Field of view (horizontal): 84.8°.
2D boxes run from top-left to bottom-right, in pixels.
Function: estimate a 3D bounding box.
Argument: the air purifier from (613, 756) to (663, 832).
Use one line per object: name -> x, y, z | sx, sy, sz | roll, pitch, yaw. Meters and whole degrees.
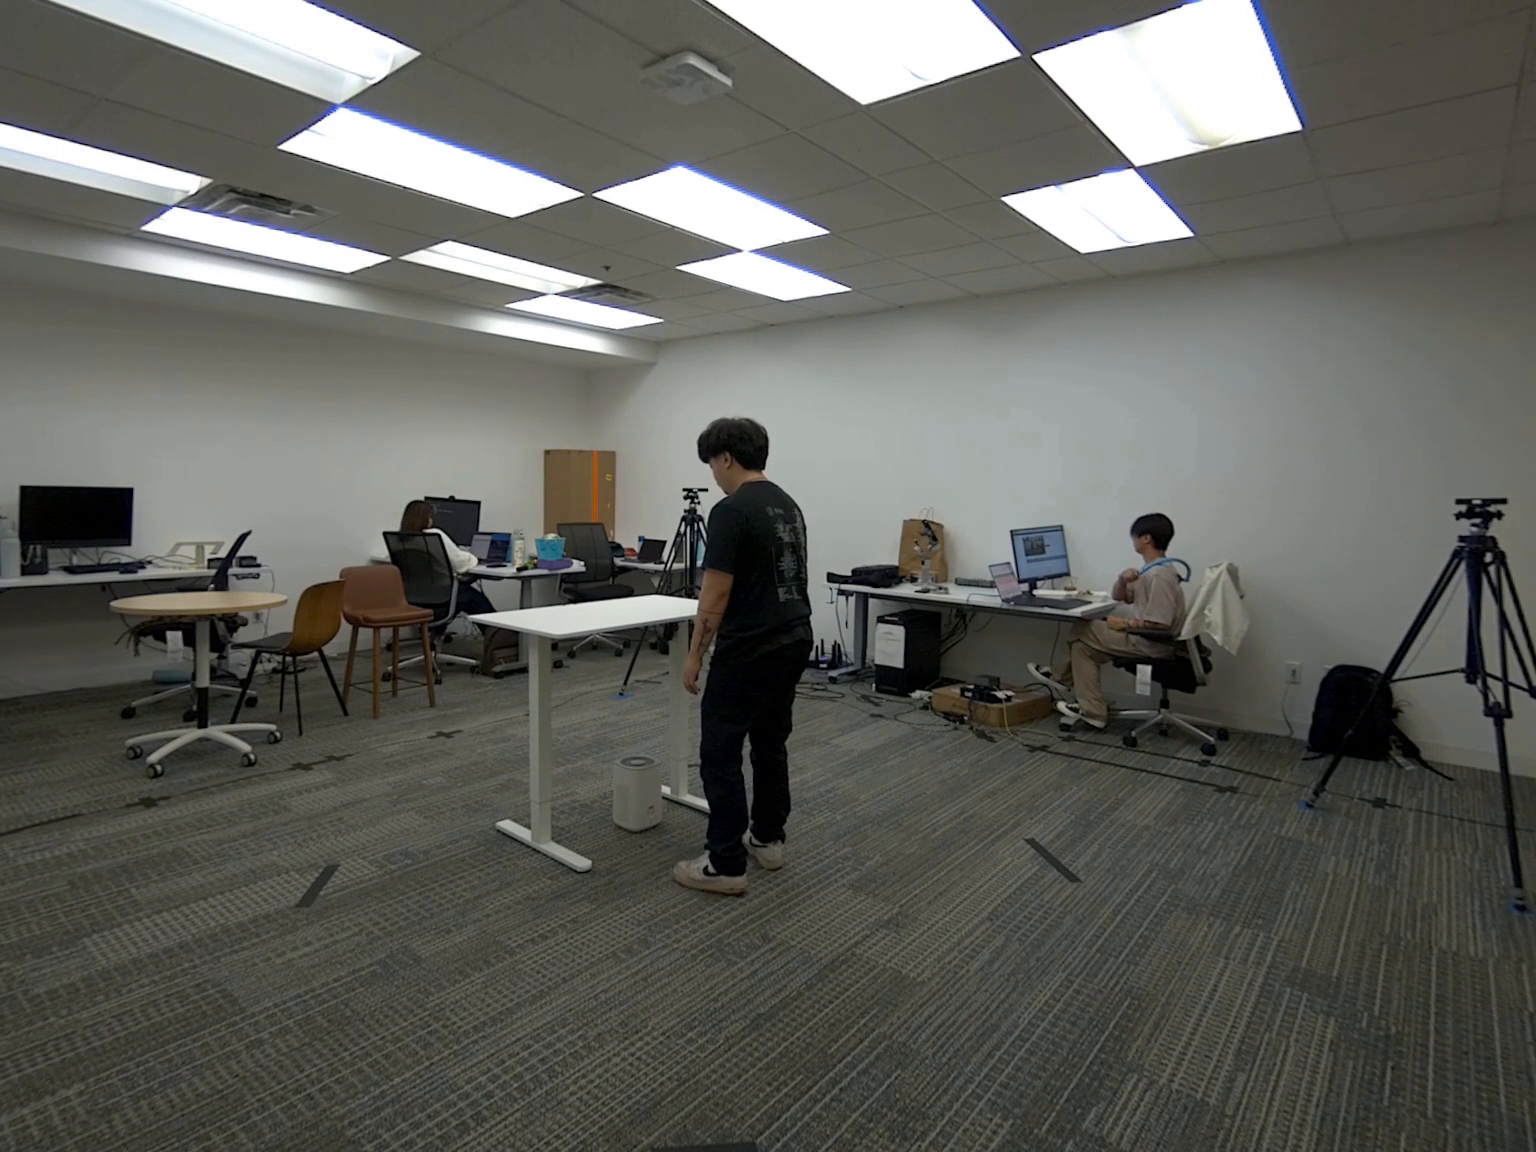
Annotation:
air purifier -> -0.550, 0.891, 3.506 | 0.177, 0.265, 0.166 | 3, 4, 41
